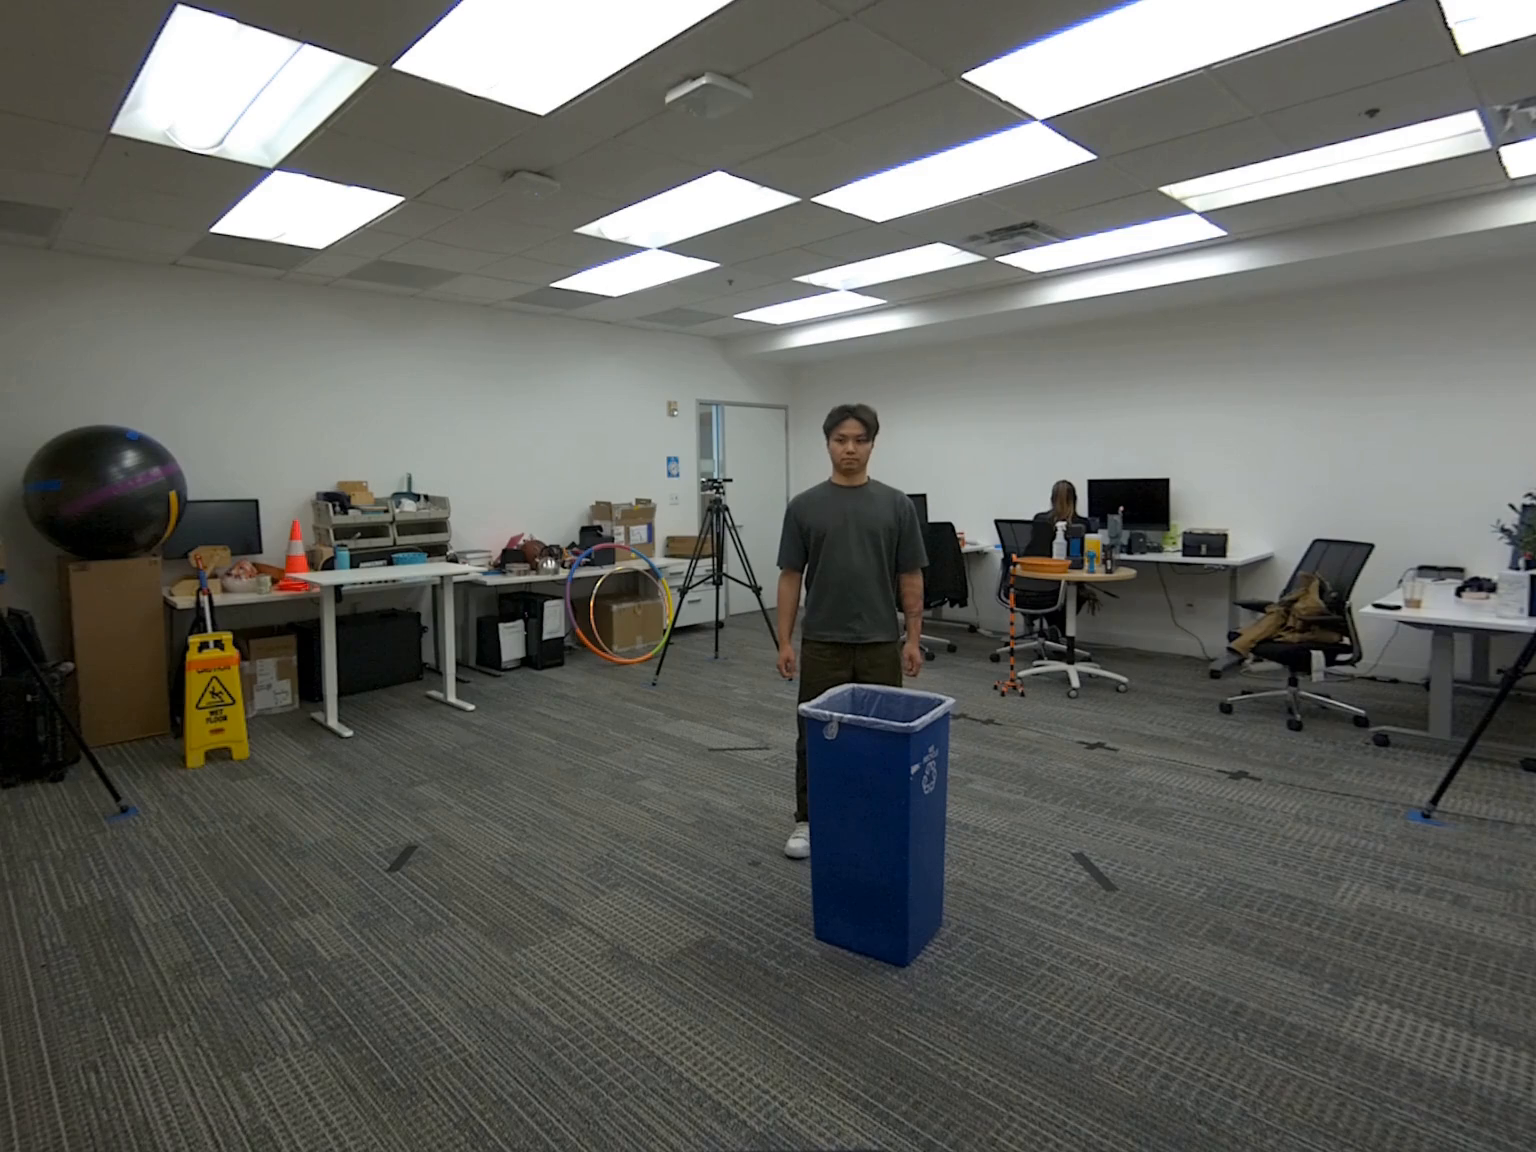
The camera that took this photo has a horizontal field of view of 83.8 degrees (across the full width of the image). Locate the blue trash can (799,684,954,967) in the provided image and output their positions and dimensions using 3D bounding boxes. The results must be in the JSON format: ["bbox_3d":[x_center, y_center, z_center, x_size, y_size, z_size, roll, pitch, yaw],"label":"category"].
[{"bbox_3d":[0.335,0.740,2.606,0.384,0.711,0.369,3,5,32],"label":"blue trash can"}]
